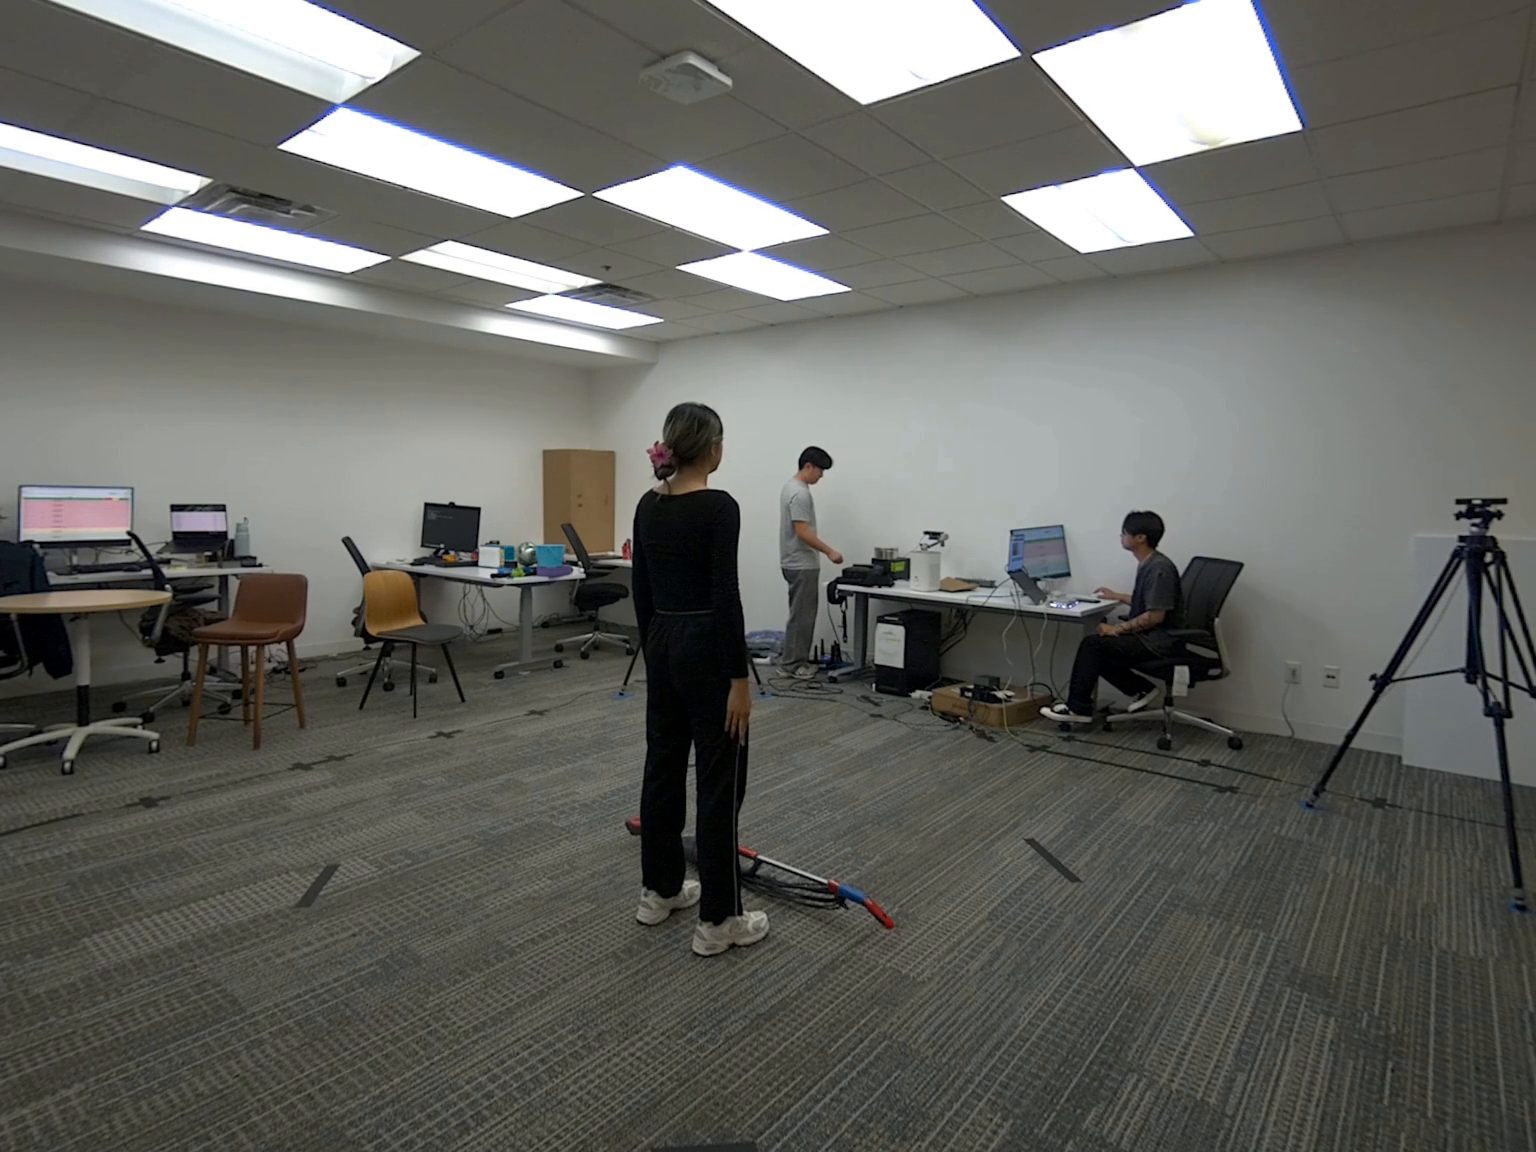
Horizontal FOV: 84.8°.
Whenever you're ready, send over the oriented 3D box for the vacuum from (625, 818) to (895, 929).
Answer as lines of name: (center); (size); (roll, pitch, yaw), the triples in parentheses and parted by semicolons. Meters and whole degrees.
vacuum: (-0.041, 1.026, 2.970); (1.086, 0.143, 0.246); (7, 12, 39)
